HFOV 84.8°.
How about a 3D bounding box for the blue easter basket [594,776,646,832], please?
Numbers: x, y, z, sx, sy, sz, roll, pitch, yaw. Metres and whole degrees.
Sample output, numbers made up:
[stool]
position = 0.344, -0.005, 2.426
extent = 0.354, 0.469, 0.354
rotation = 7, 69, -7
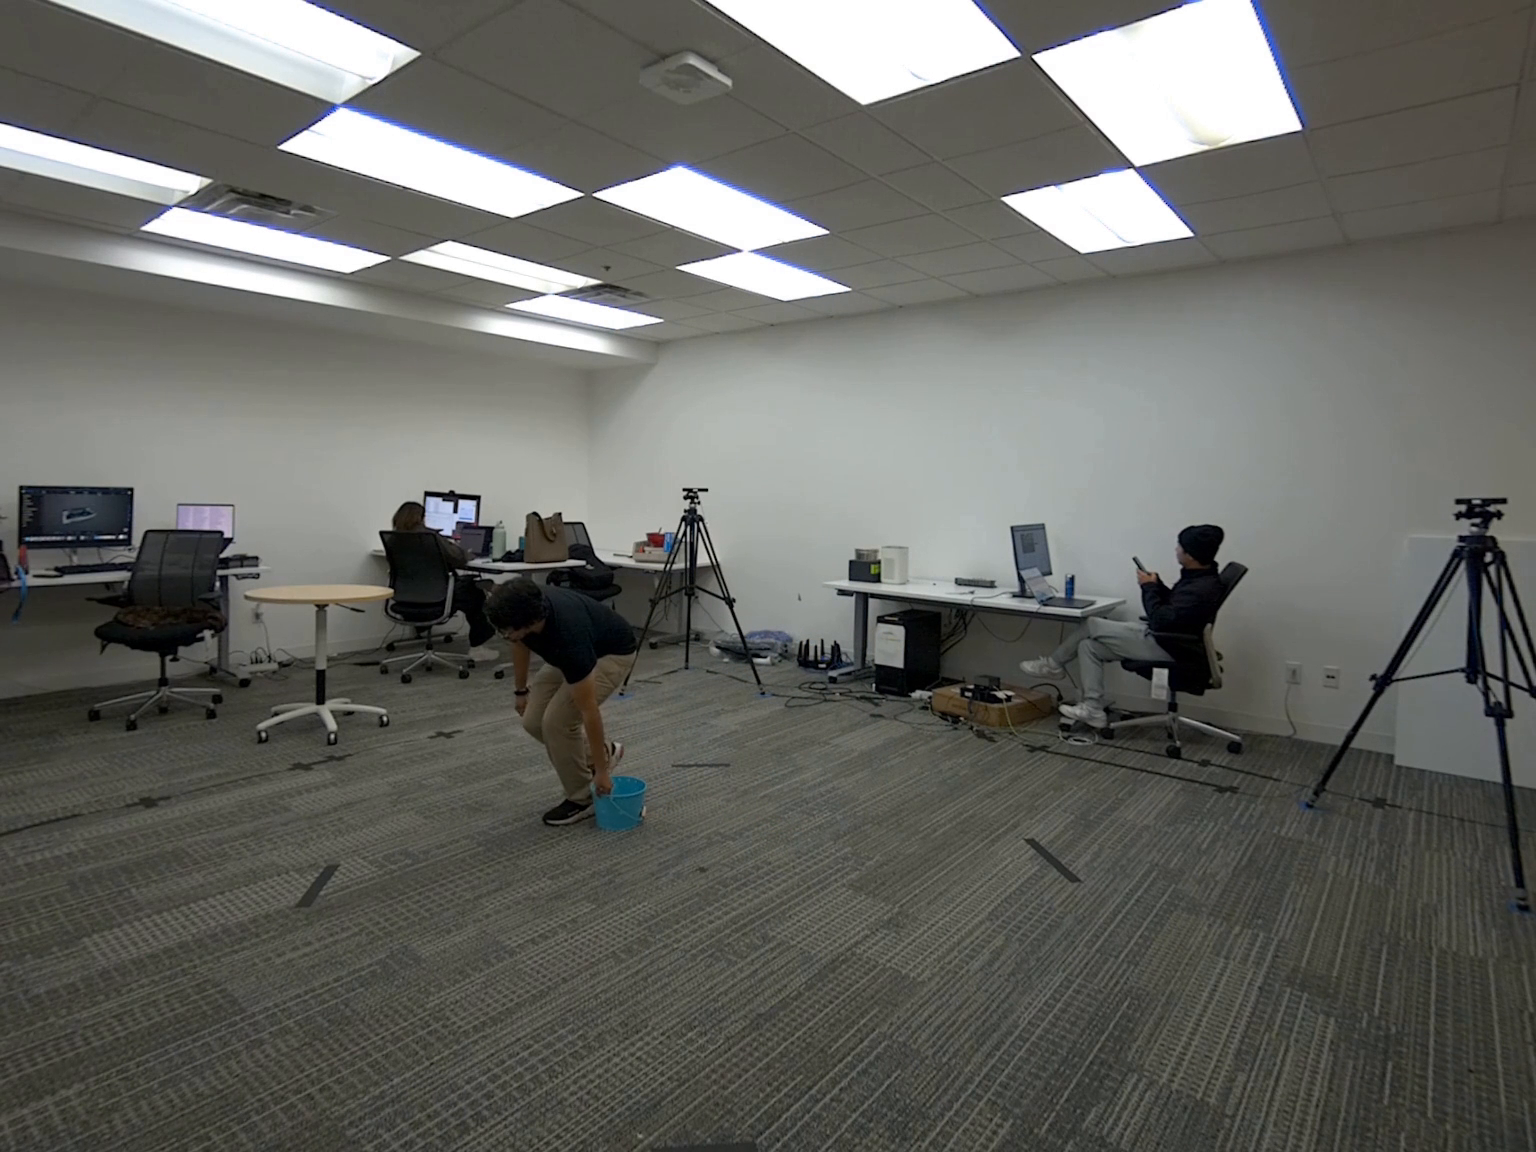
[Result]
[blue easter basket]
position = -0.635, 0.948, 3.529
extent = 0.243, 0.155, 0.245
rotation = 1, 7, -2
